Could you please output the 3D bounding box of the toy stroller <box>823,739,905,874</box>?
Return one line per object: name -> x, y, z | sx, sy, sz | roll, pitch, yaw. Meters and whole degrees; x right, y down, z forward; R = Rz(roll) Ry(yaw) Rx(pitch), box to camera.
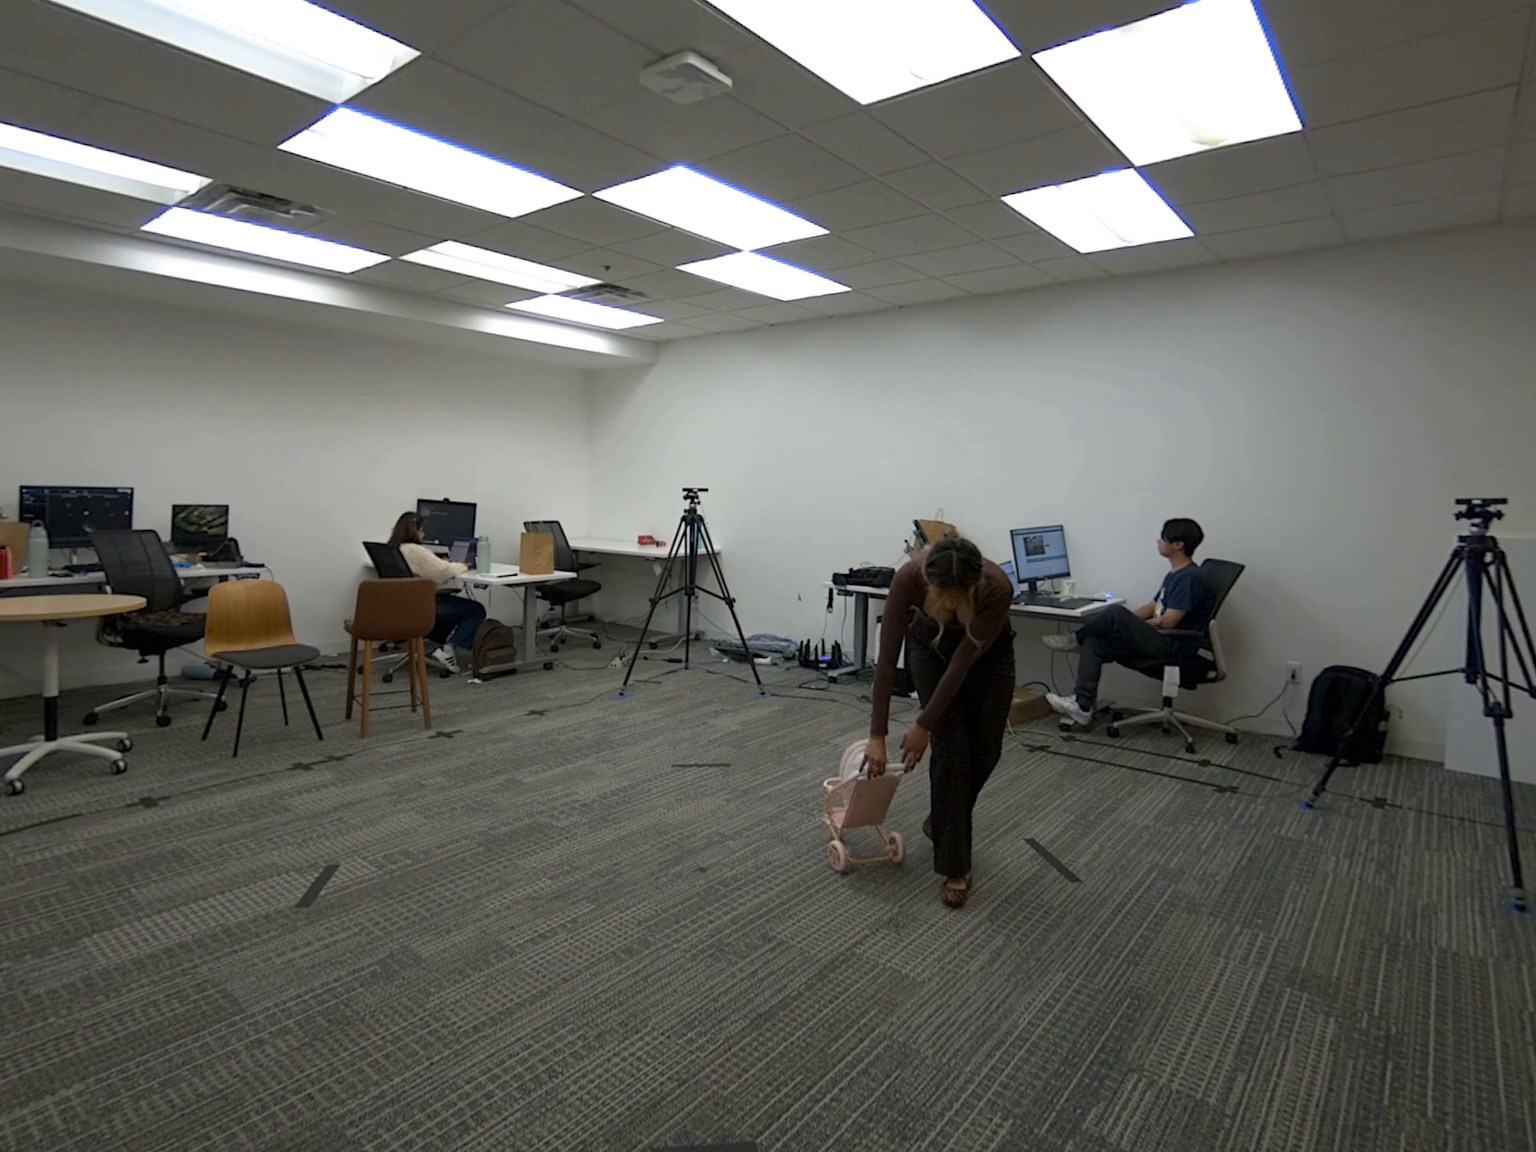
toy stroller -> 0.345, 0.845, 3.216 | 0.277, 0.527, 0.352 | 1, 20, -17
